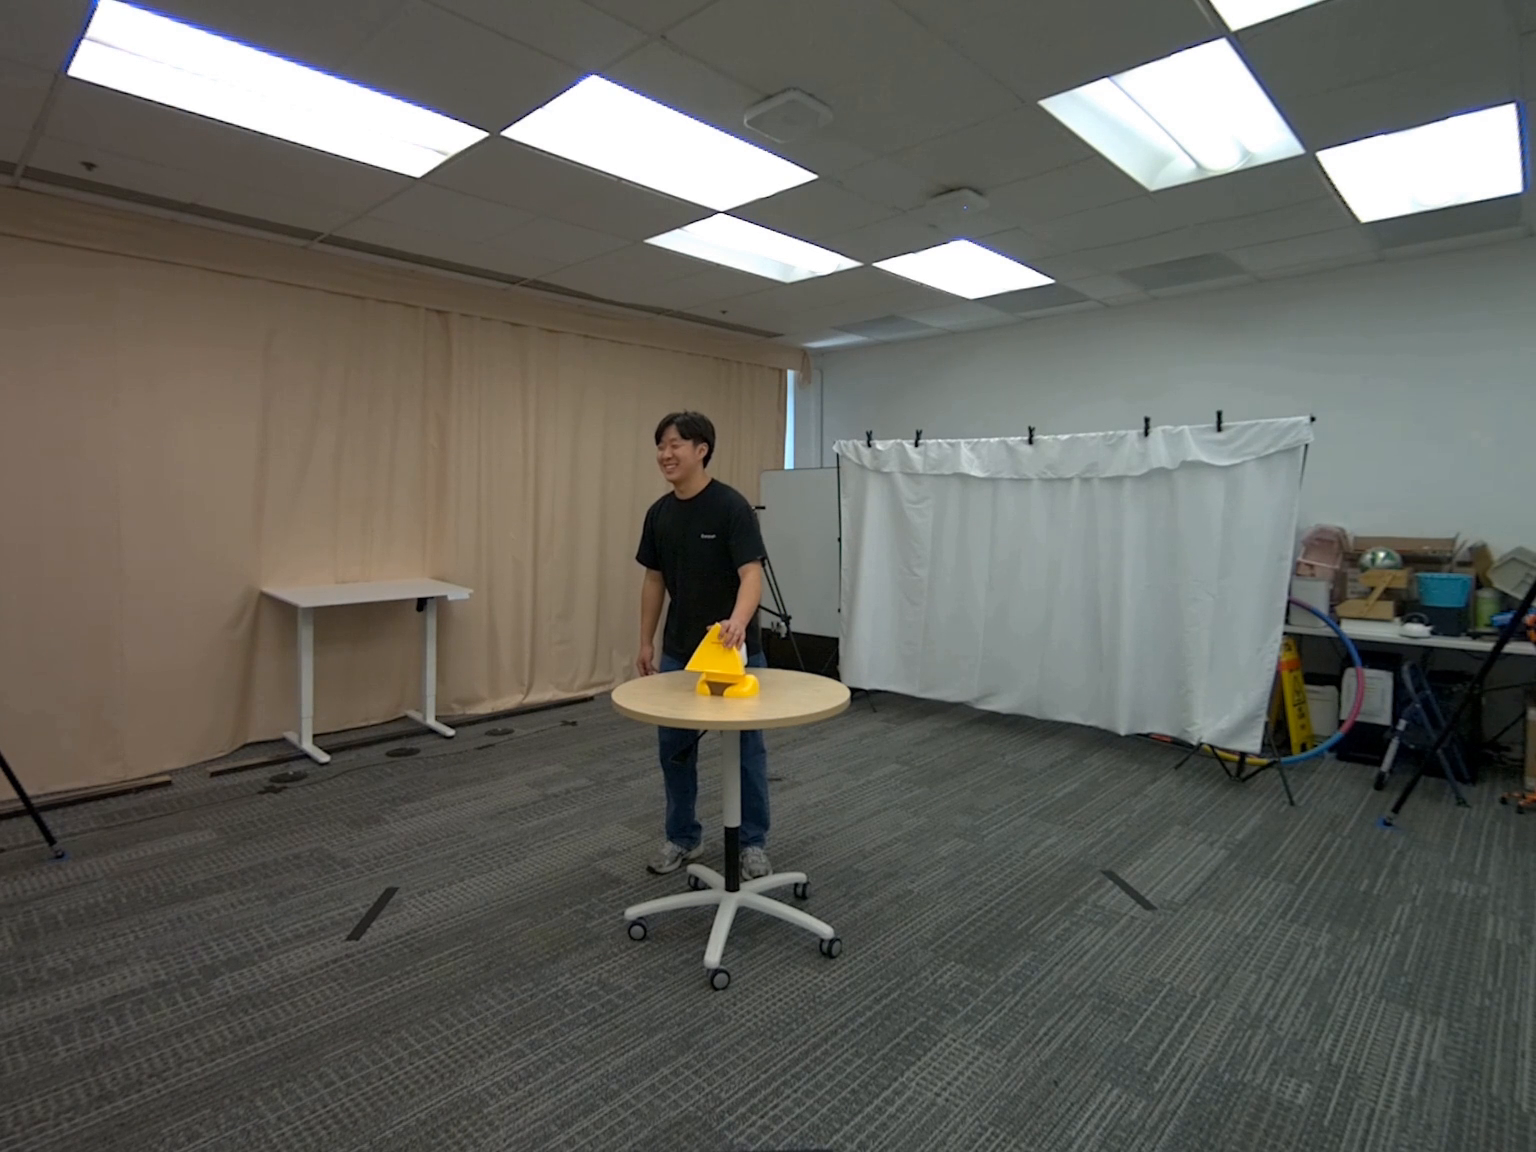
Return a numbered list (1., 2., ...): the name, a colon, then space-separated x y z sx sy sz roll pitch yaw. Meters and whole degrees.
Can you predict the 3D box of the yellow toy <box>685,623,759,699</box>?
1. yellow toy: -0.134 0.258 2.707 0.210 0.230 0.188 2 4 26
